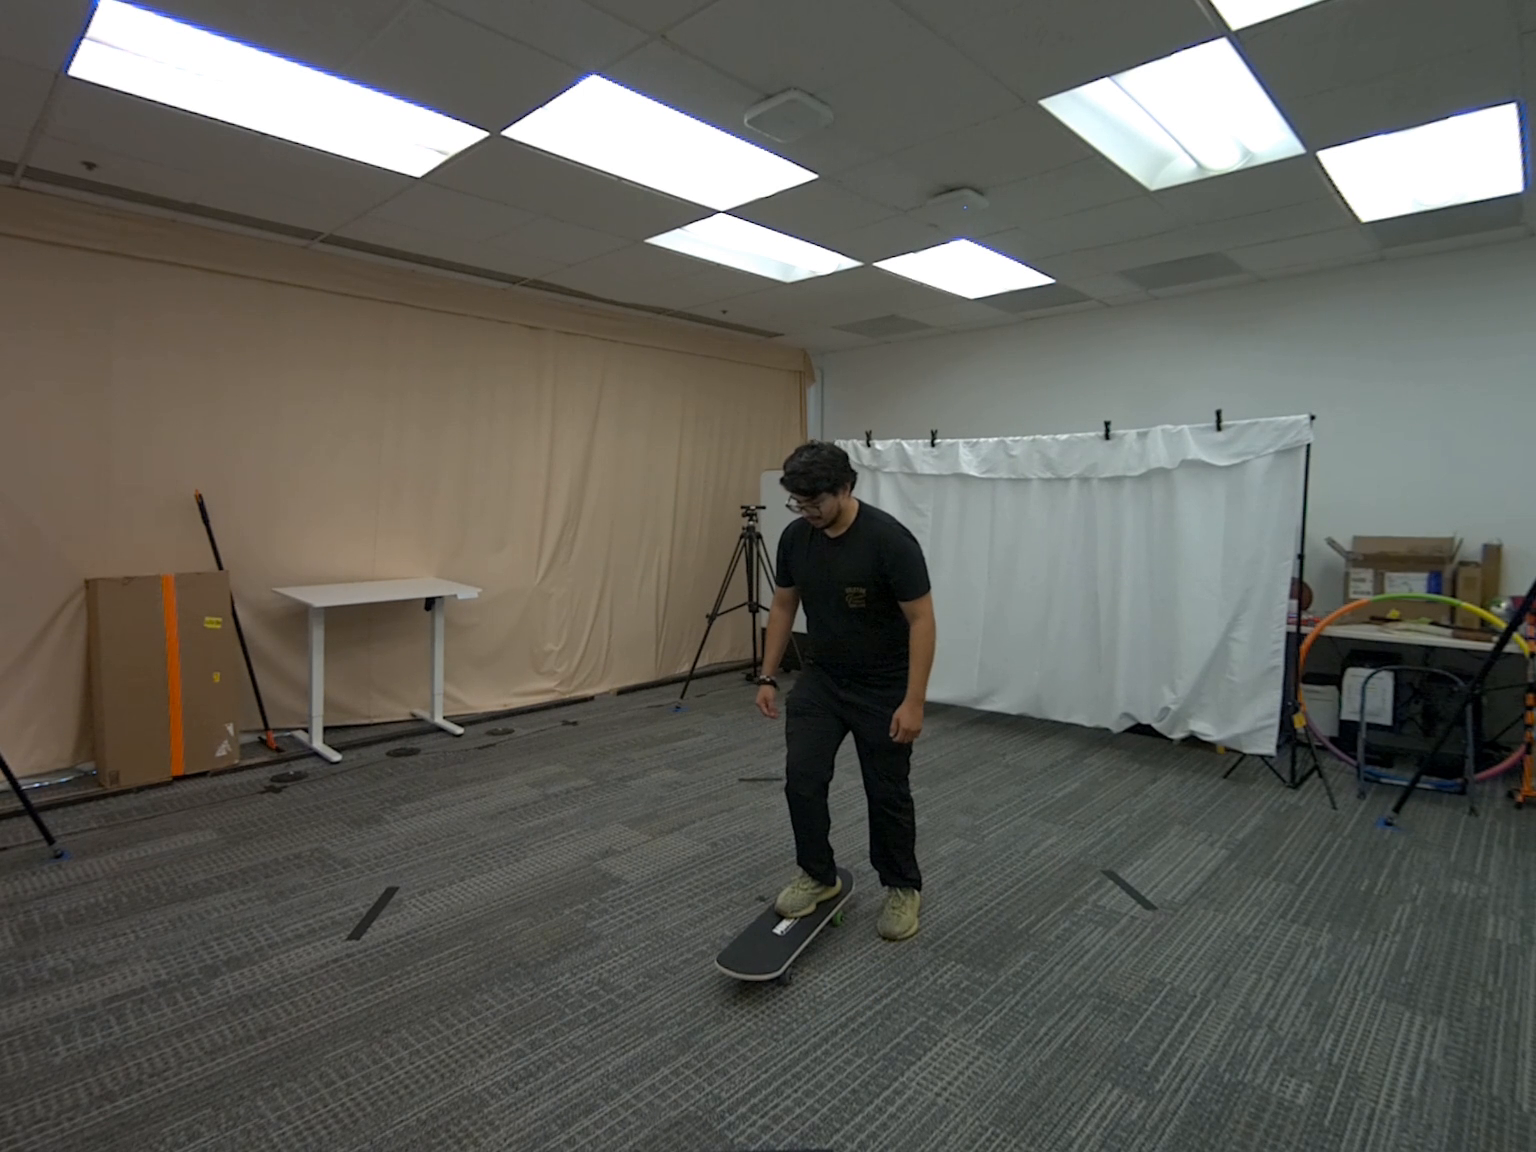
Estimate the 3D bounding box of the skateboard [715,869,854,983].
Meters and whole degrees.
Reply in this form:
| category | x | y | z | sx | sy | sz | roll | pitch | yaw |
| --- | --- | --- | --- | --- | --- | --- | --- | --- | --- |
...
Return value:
| category | x | y | z | sx | sy | sz | roll | pitch | yaw |
| --- | --- | --- | --- | --- | --- | --- | --- | --- | --- |
| skateboard | 0.080 | 1.121 | 2.654 | 0.199 | 0.110 | 0.766 | 4 | 6 | 27 |
